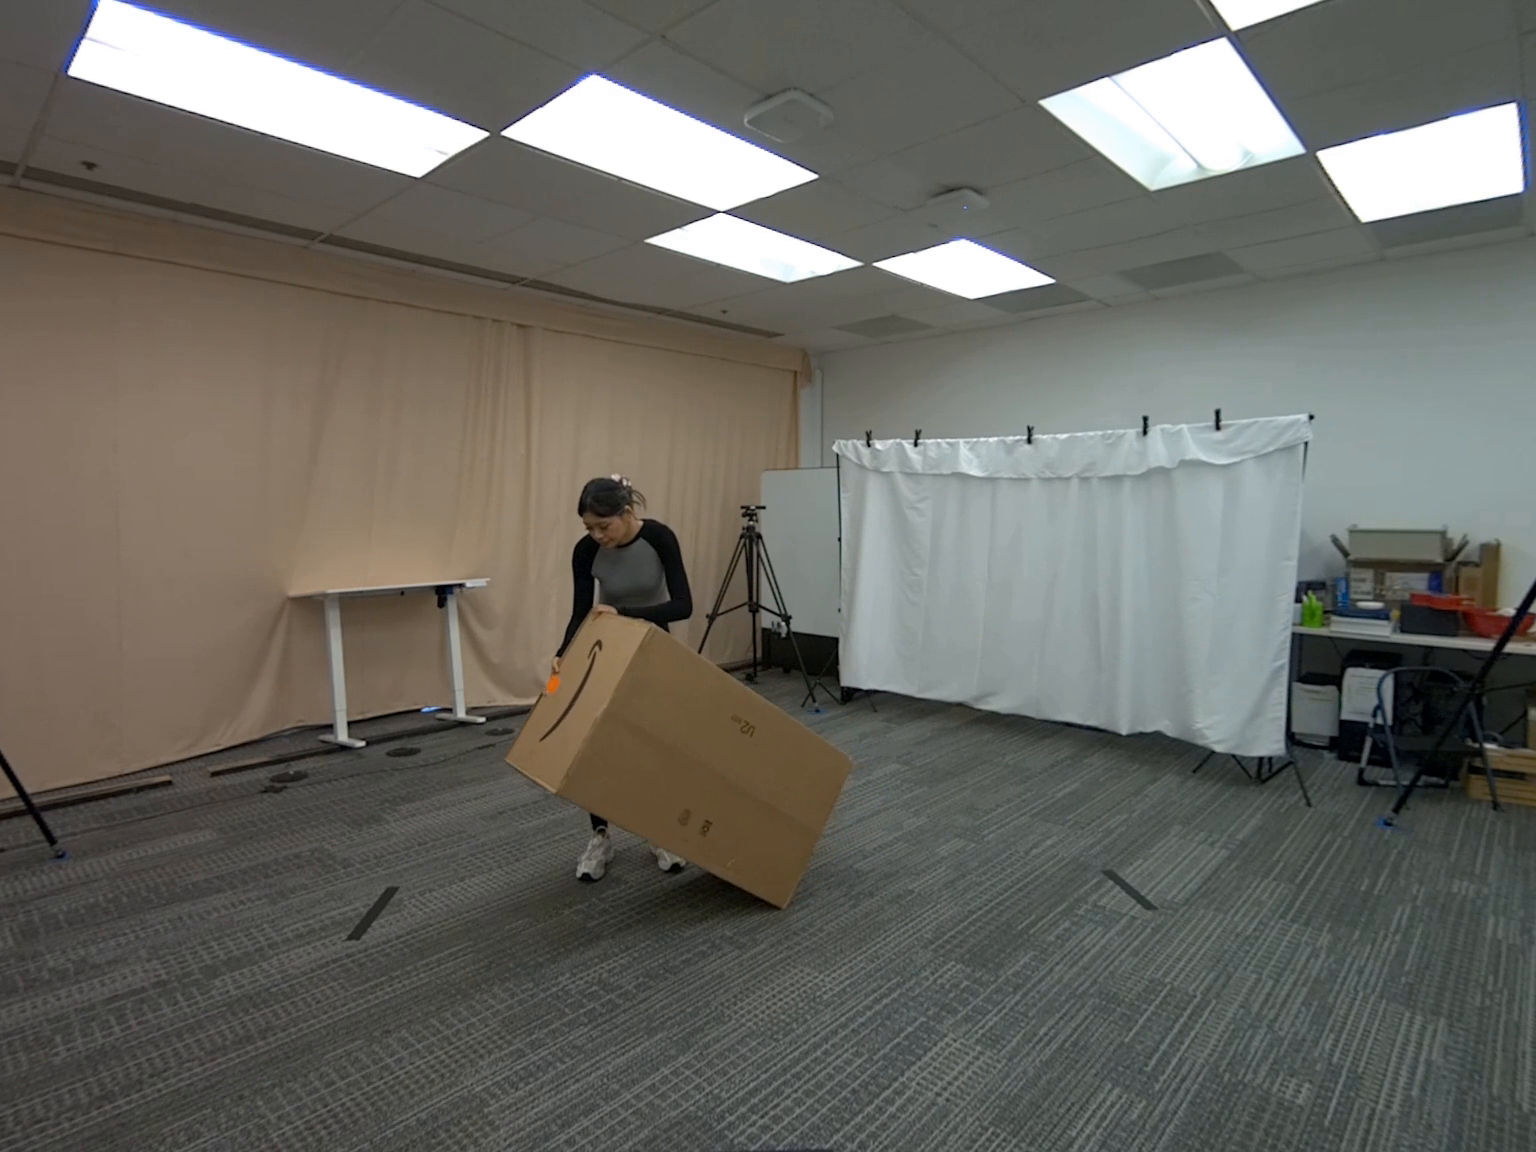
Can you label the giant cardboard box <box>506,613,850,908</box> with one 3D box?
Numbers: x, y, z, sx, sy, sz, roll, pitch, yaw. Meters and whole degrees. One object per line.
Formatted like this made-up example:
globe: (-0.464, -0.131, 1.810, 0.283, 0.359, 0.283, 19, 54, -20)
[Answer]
giant cardboard box: (-0.266, 0.637, 2.904, 0.994, 0.584, 0.461, 38, -20, -31)
